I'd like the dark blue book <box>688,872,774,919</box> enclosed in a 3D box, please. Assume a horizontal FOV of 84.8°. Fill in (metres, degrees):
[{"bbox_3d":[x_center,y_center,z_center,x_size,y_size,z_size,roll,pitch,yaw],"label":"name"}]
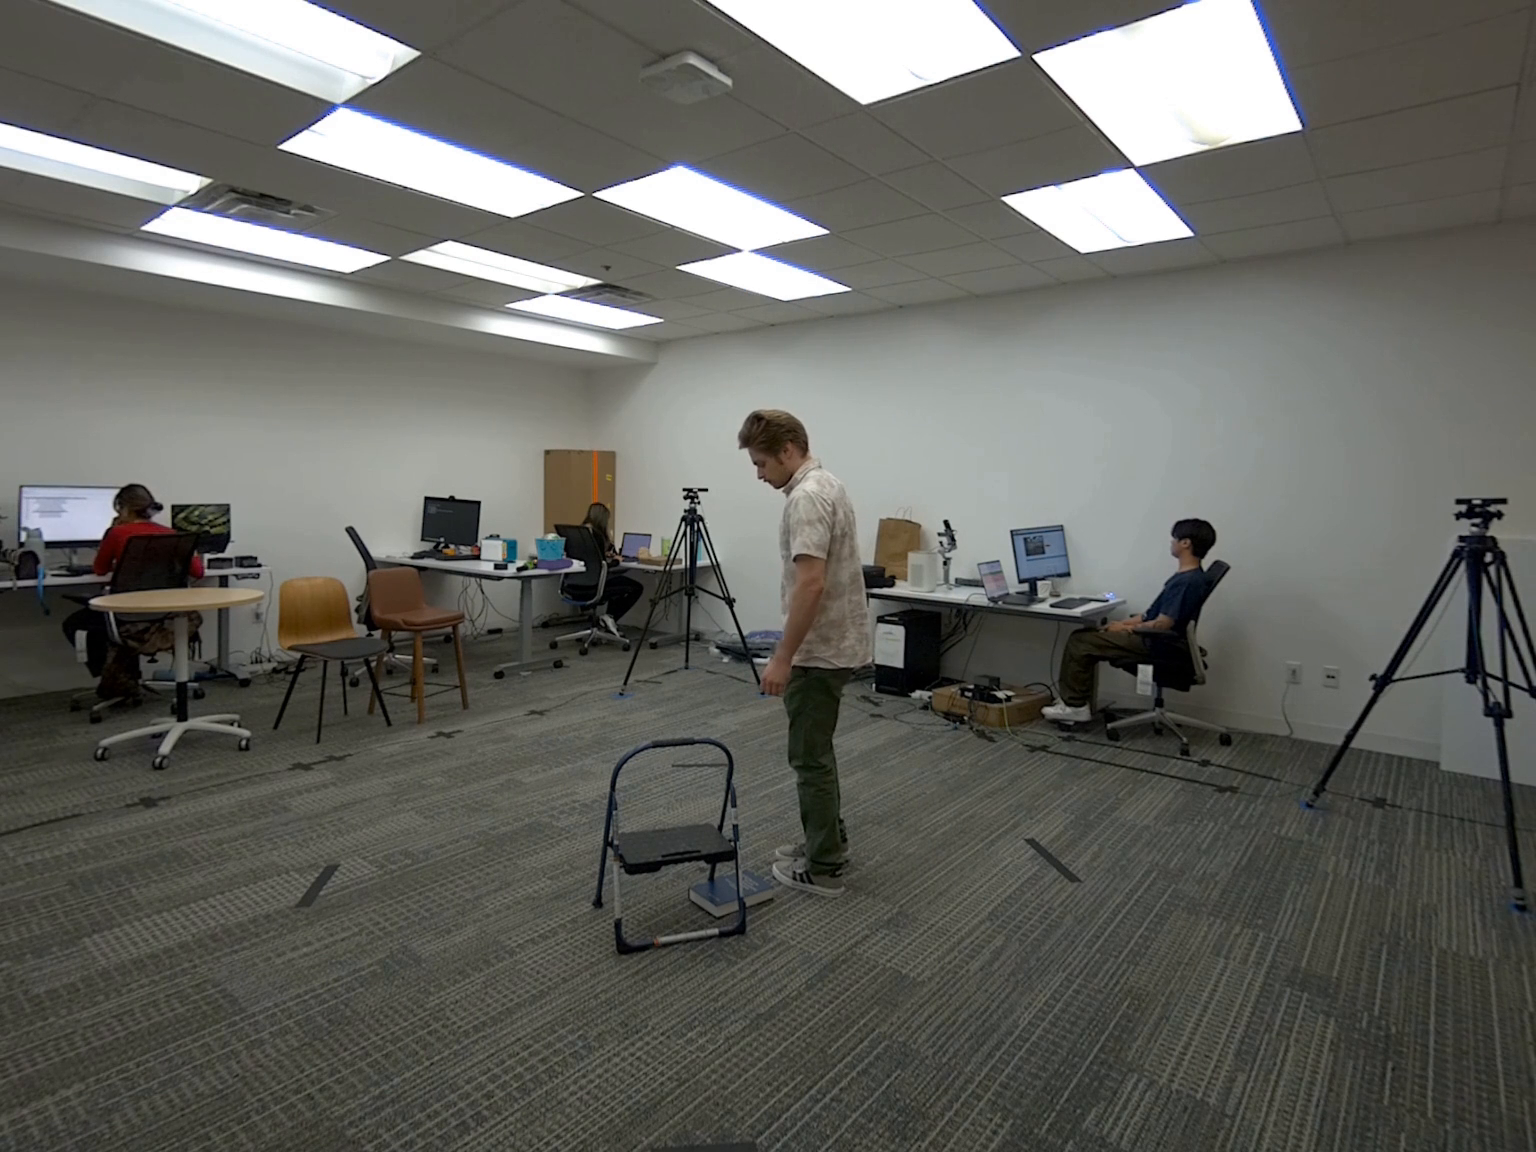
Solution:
[{"bbox_3d":[-0.127,1.076,2.882,0.238,0.045,0.169,-2,7,-39],"label":"dark blue book"}]
